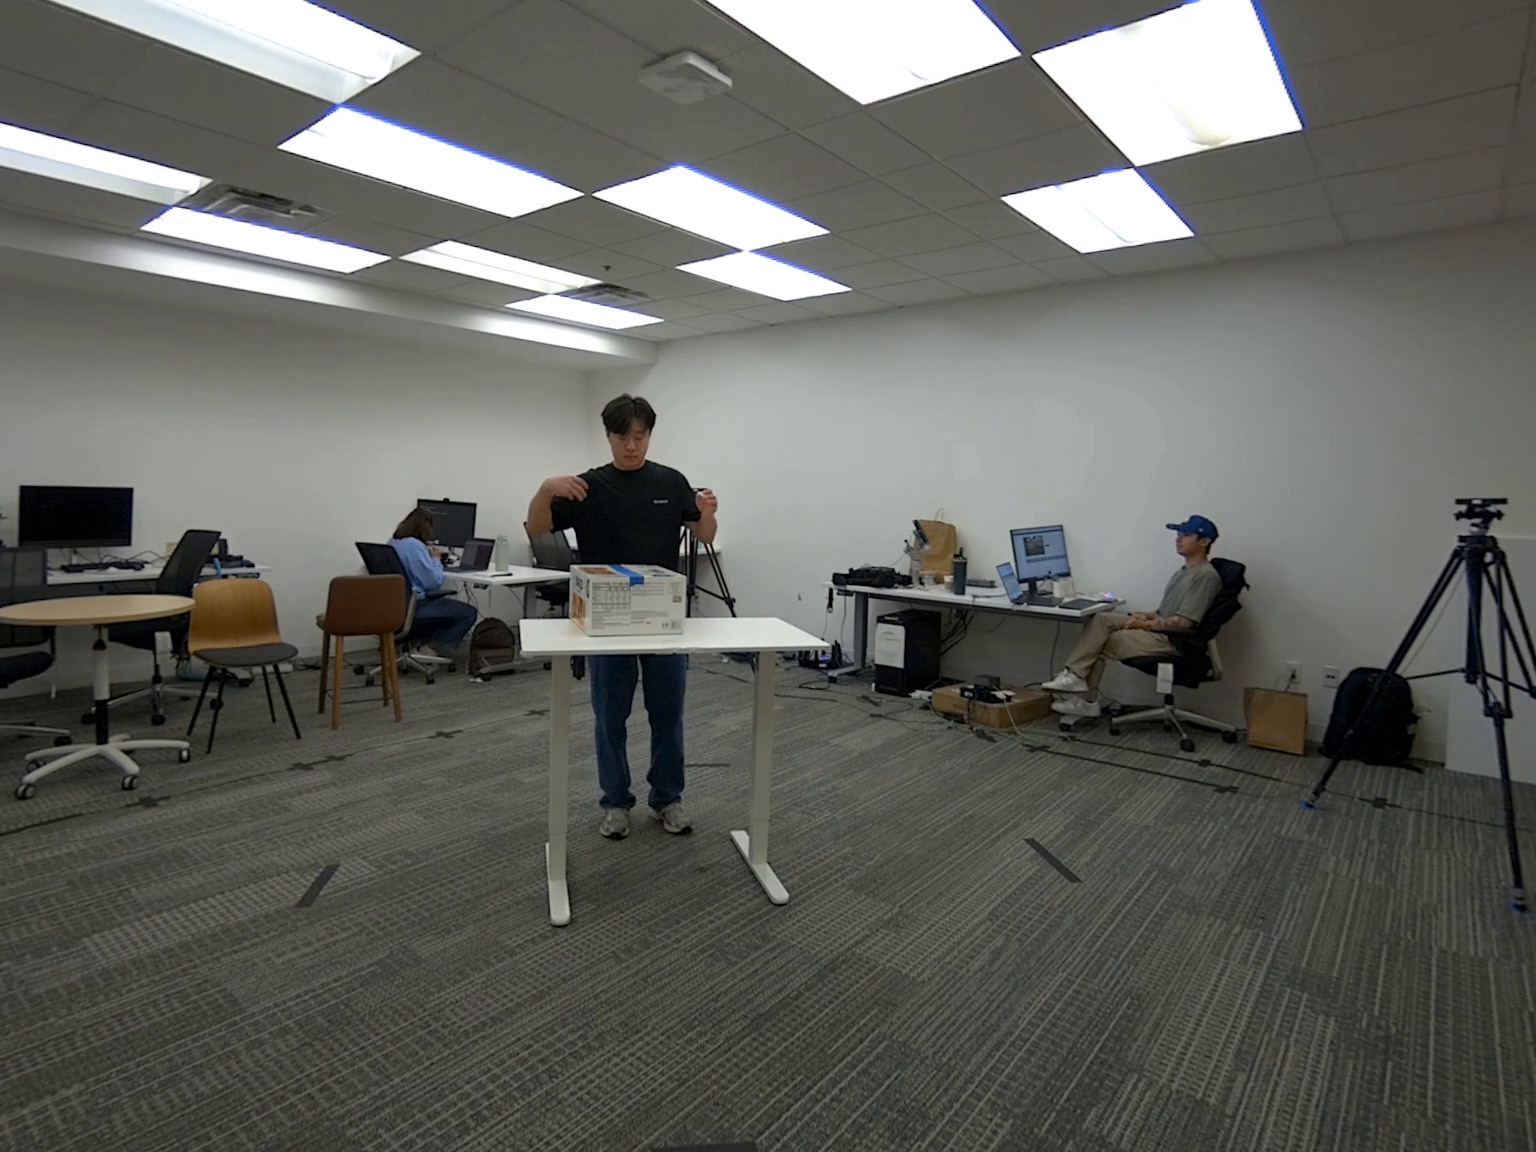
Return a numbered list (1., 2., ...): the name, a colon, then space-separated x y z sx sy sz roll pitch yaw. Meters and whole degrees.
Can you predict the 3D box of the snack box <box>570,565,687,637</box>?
1. snack box: -0.532 0.077 3.086 0.333 0.205 0.415 0 6 -21
